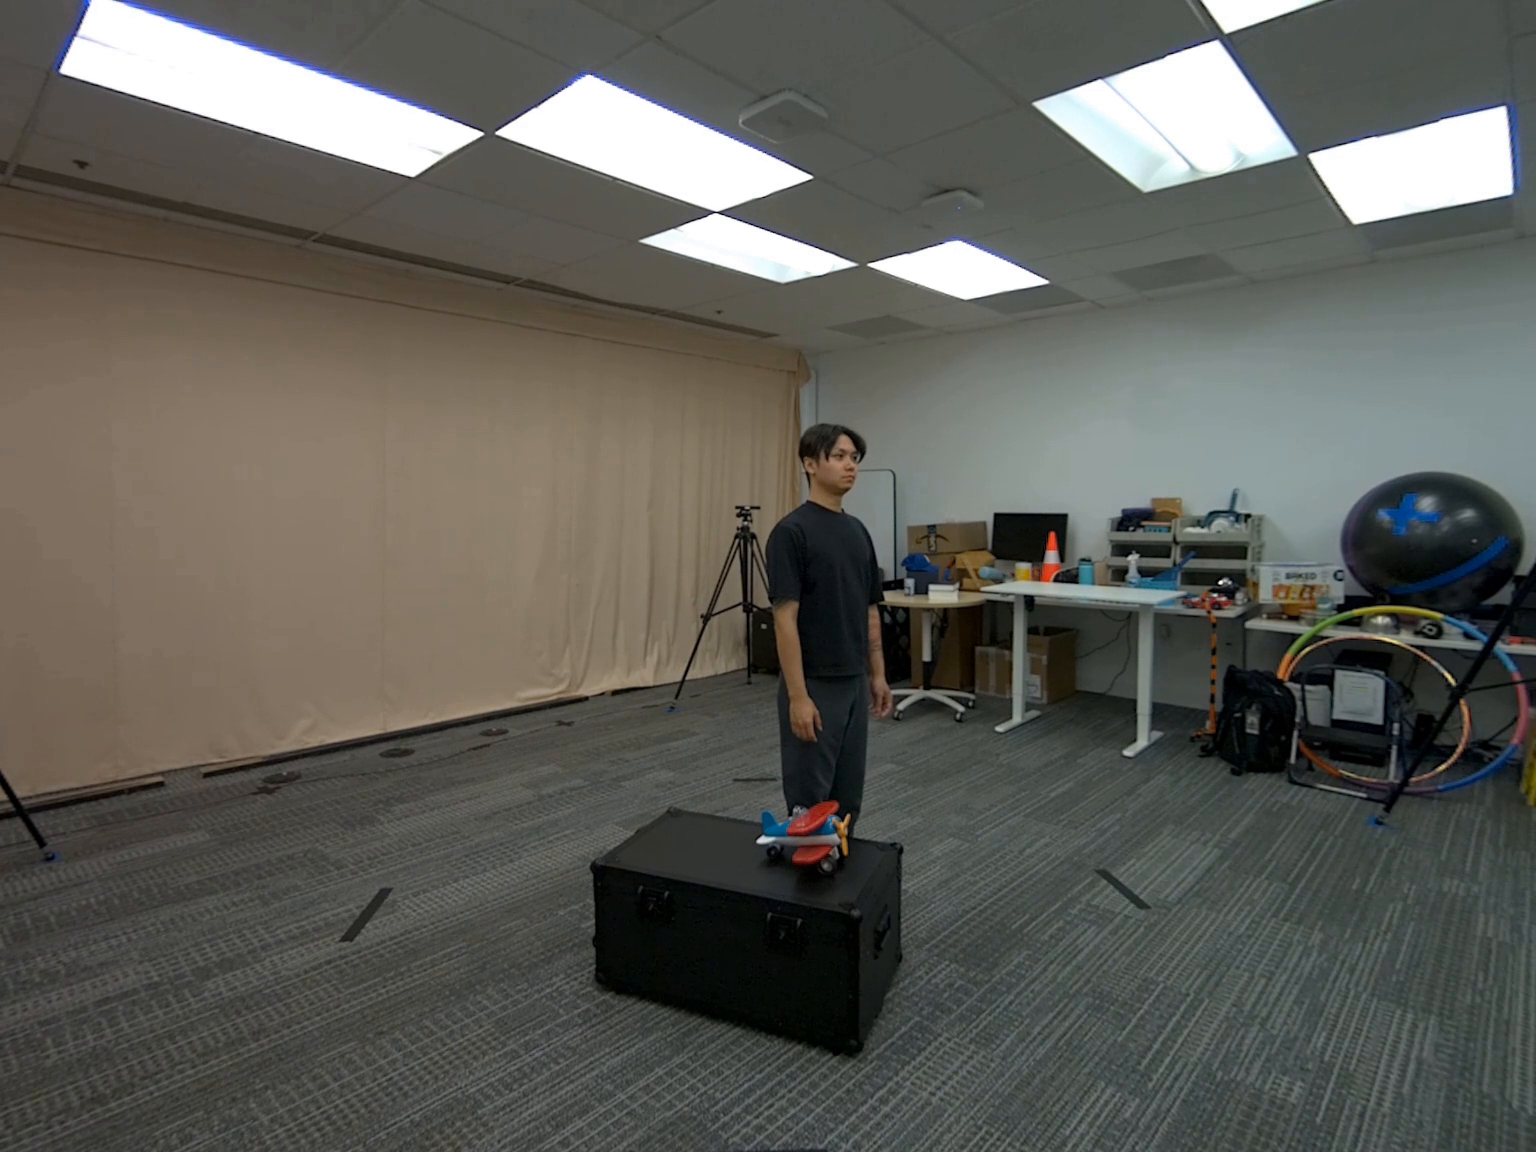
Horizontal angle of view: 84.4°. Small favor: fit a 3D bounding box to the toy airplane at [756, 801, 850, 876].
[{"bbox_3d":[0.098,0.738,2.380,0.259,0.156,0.252,1,4,-1],"label":"toy airplane"}]
